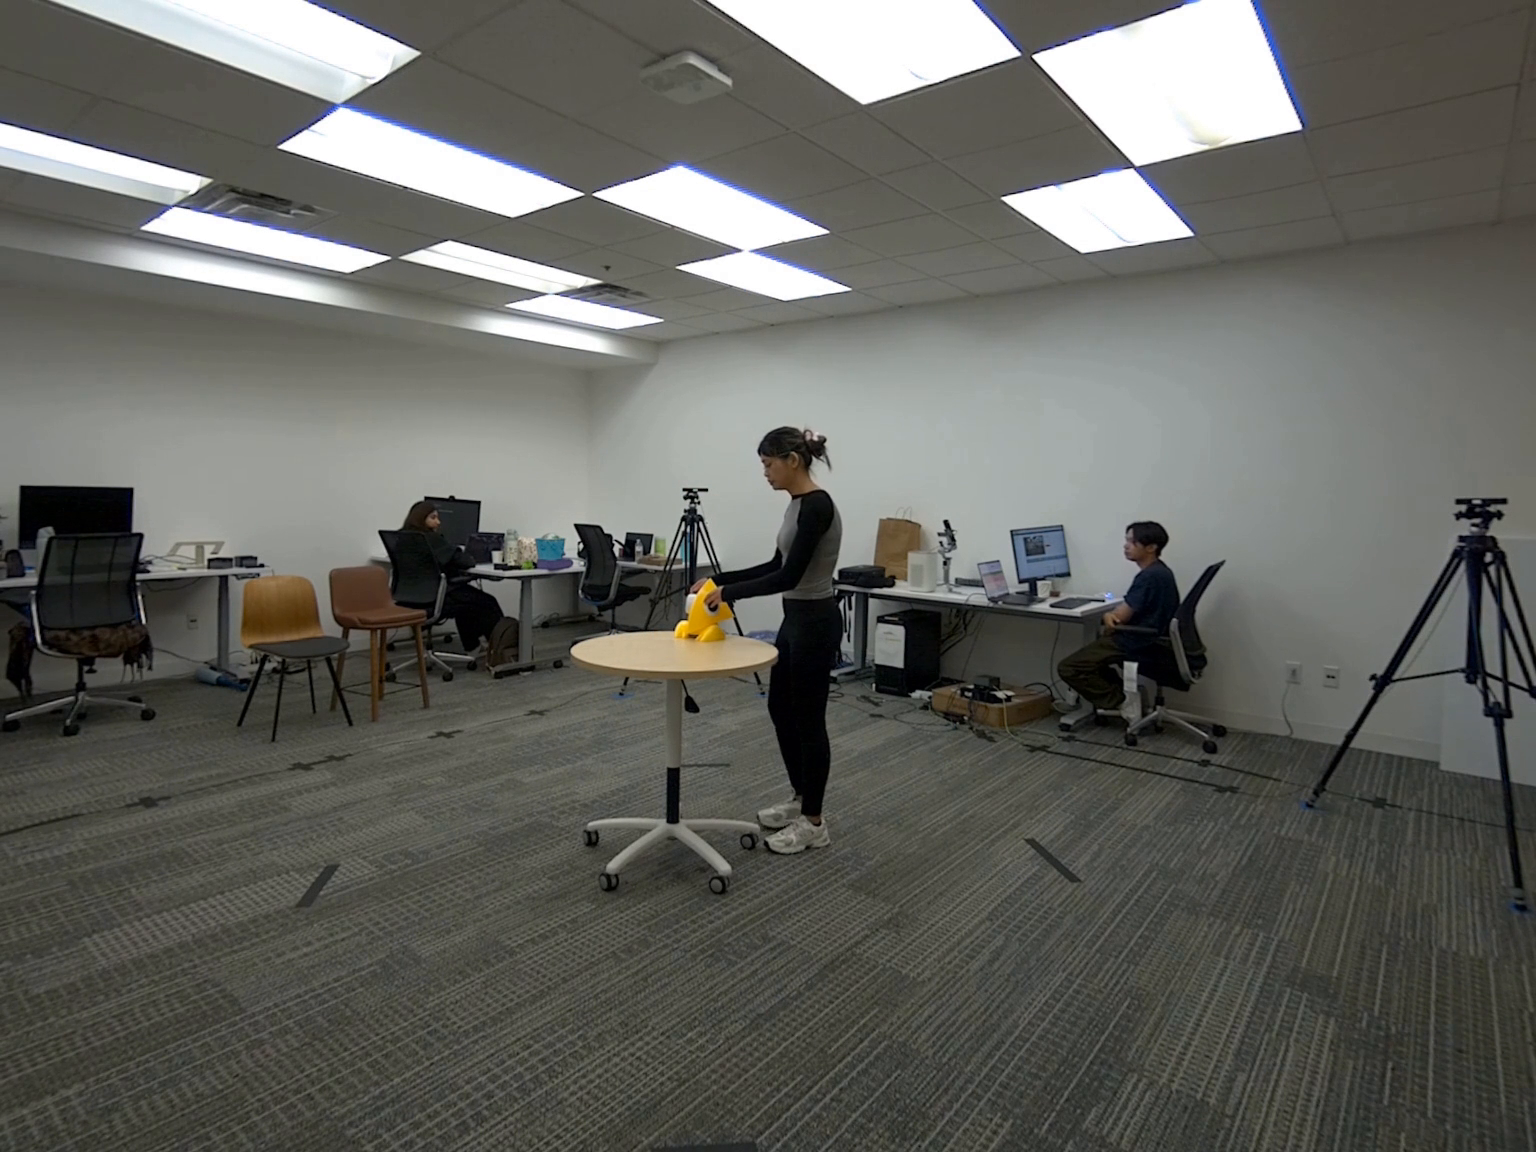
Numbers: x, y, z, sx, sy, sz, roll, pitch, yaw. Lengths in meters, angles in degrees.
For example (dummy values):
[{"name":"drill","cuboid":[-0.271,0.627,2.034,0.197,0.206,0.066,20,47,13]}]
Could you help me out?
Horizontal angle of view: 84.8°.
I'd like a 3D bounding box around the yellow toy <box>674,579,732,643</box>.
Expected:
[{"name":"yellow toy","cuboid":[-0.277,0.128,3.429,0.211,0.230,0.188,4,6,31]}]
